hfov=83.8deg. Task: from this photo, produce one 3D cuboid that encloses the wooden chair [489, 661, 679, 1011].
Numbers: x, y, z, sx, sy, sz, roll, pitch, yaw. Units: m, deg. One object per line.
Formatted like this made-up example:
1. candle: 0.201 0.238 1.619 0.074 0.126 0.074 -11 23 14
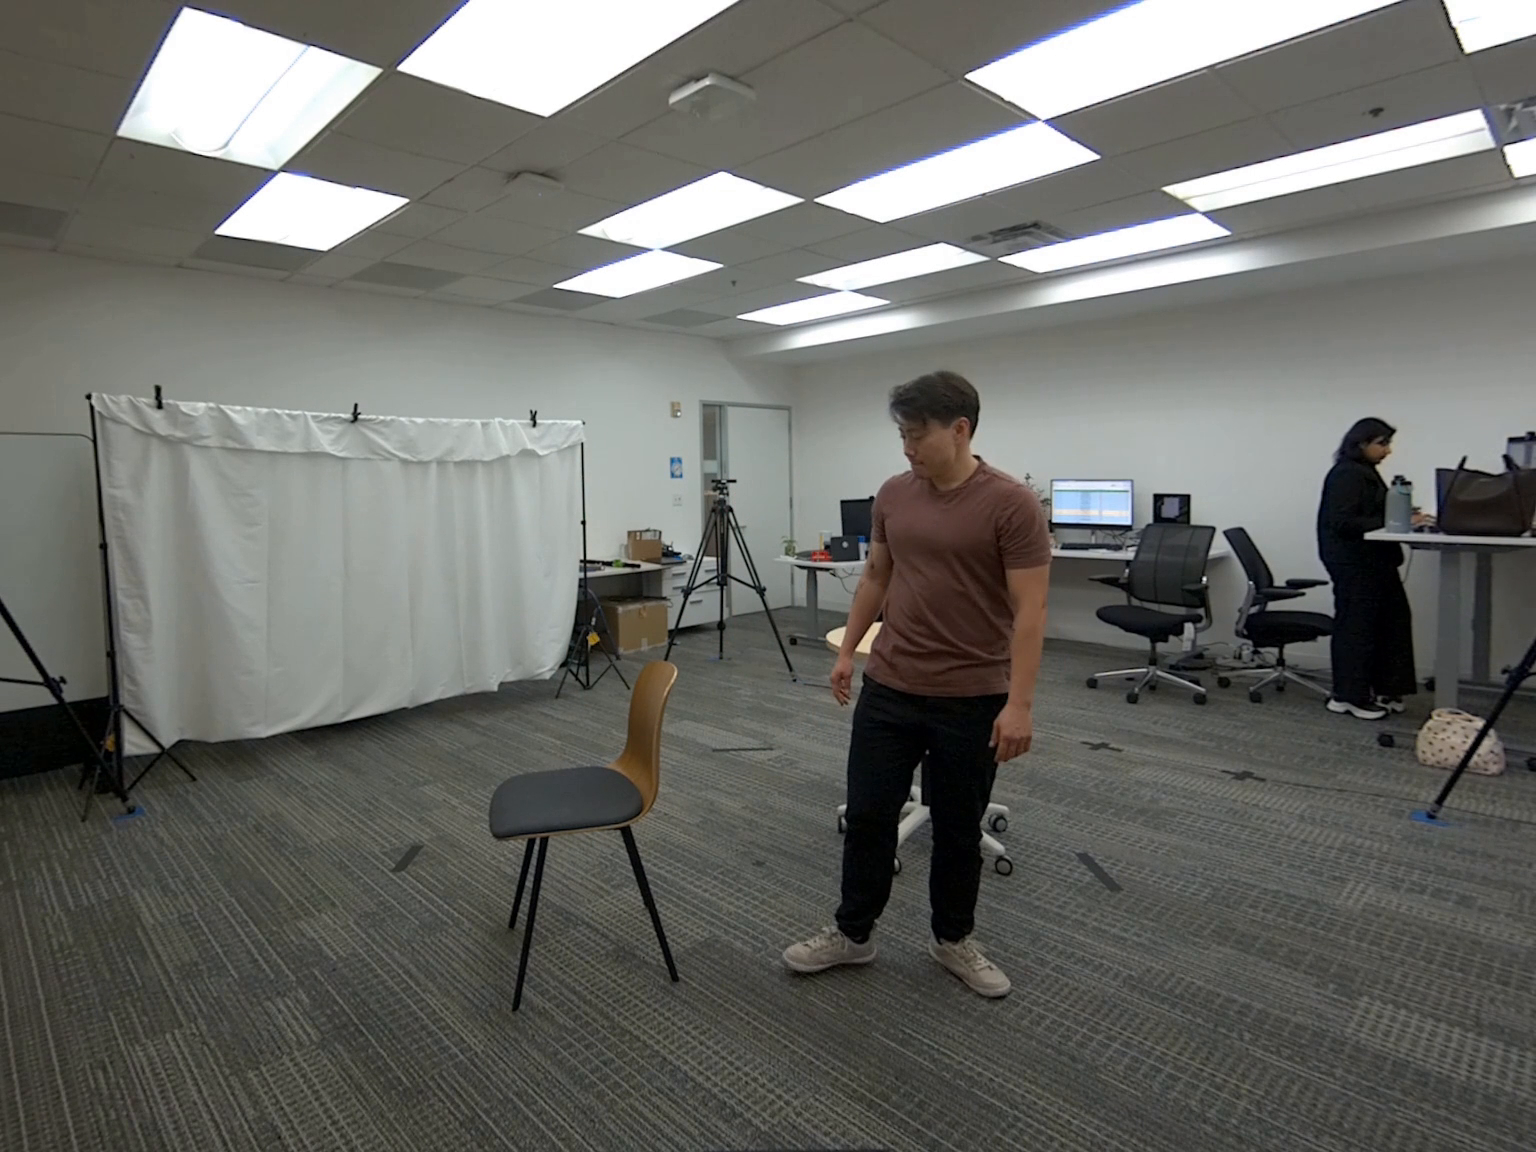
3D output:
1. wooden chair: -0.545 0.701 2.511 0.514 0.875 0.487 2 3 -18
